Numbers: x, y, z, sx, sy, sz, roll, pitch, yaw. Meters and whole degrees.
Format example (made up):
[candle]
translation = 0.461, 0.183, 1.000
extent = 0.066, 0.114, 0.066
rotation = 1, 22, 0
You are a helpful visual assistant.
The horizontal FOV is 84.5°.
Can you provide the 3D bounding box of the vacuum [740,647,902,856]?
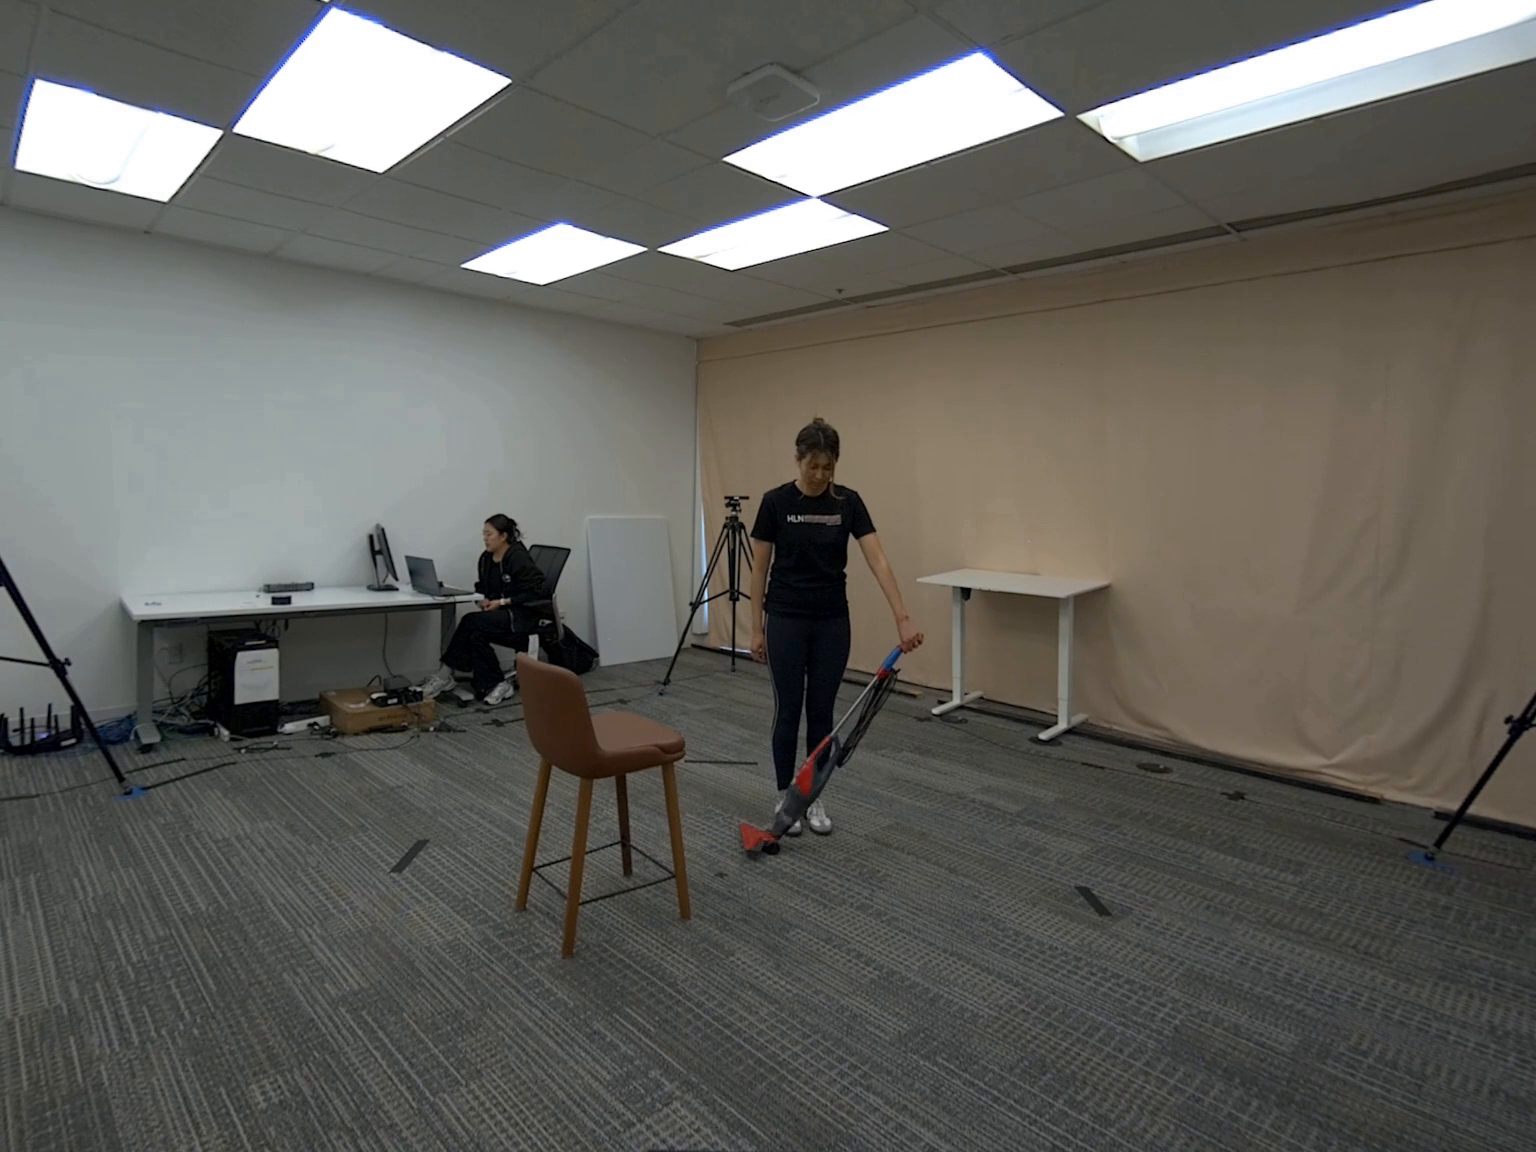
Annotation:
[vacuum]
translation = 0.279, 0.664, 3.347
extent = 0.143, 1.049, 0.254
rotation = 40, 0, -8
